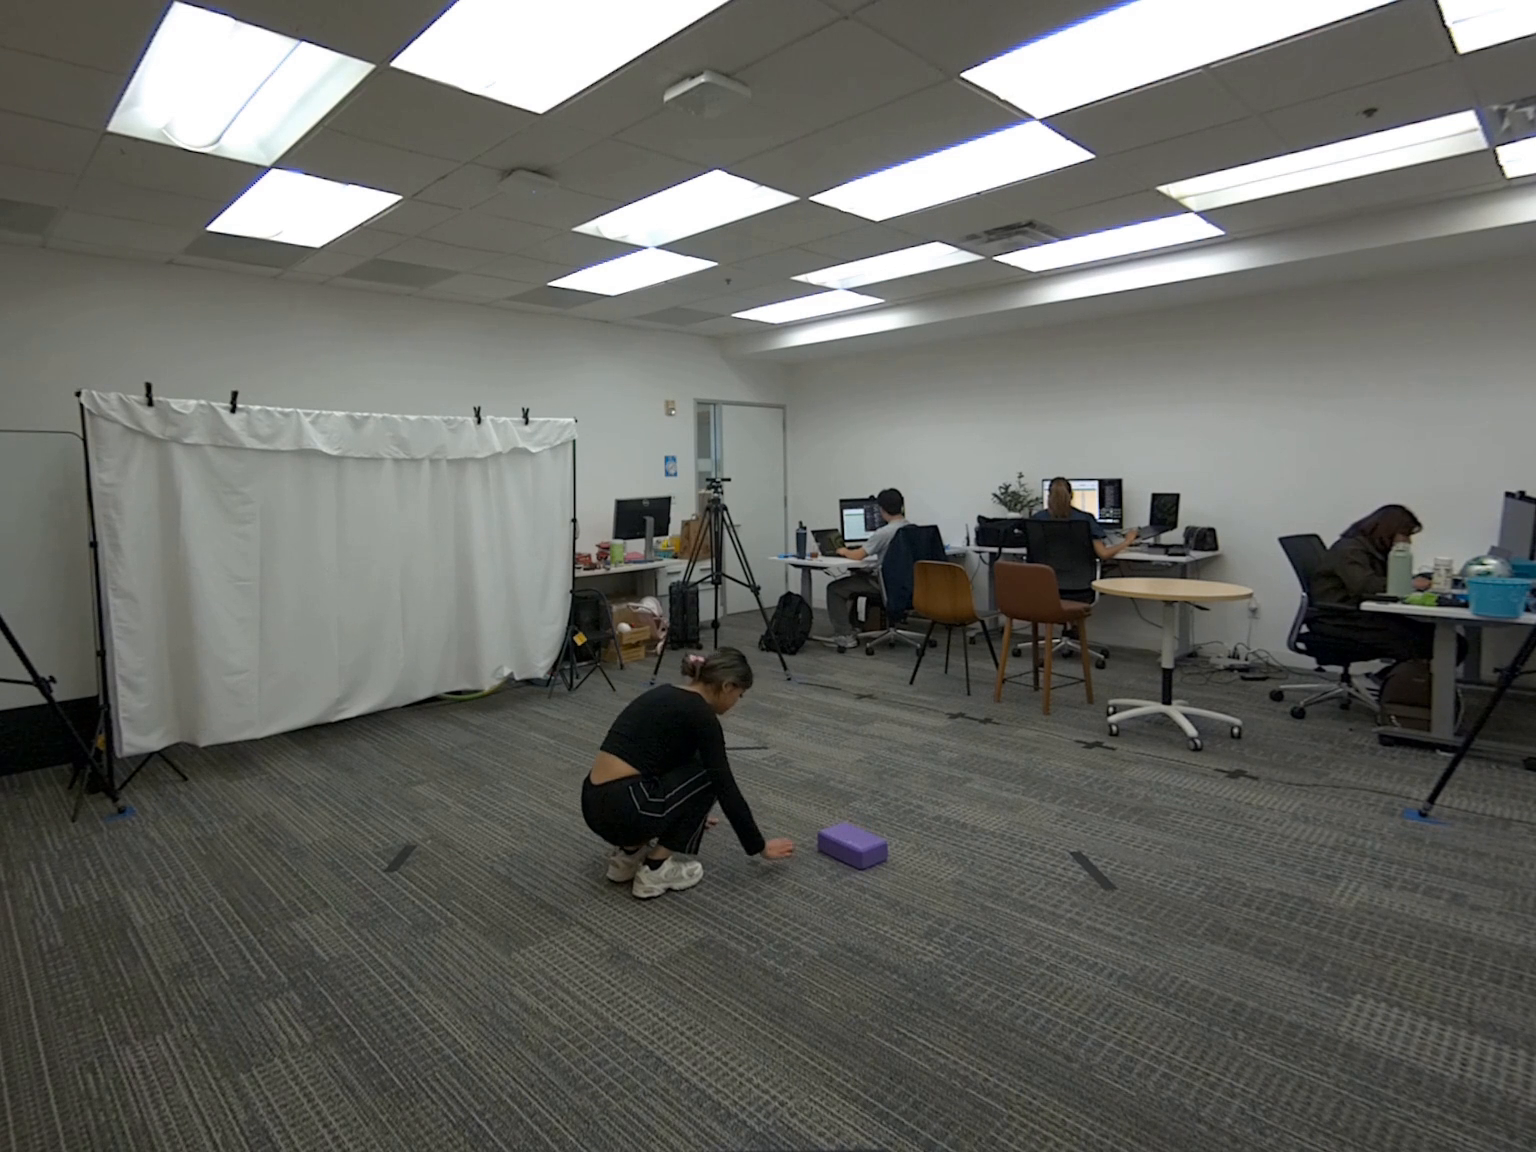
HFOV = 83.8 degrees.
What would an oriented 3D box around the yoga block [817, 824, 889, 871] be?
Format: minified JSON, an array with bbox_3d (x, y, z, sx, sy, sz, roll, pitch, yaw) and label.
[{"bbox_3d":[0.309,0.986,3.148,0.145,0.076,0.236,-5,8,-39],"label":"yoga block"}]
